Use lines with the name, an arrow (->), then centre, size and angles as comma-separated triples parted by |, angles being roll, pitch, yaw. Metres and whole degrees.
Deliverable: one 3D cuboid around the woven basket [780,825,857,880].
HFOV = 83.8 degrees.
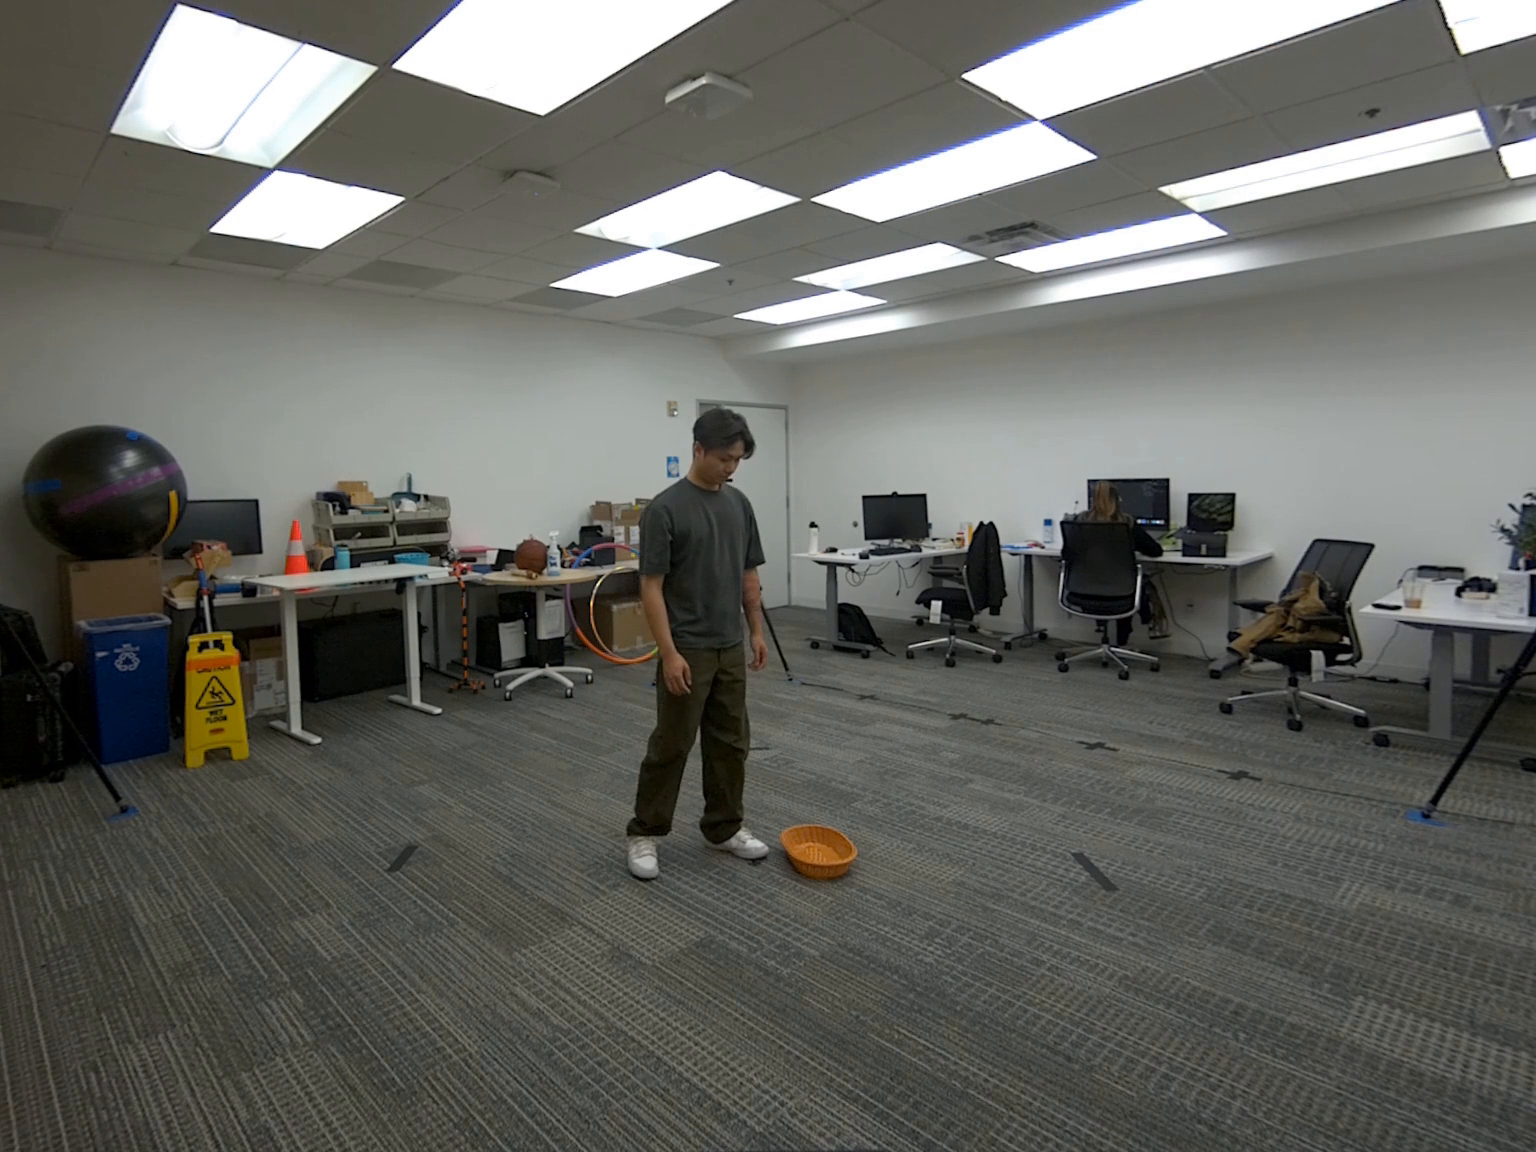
woven basket -> 0.180, 0.997, 3.106 | 0.249, 0.073, 0.356 | -2, 6, -14
